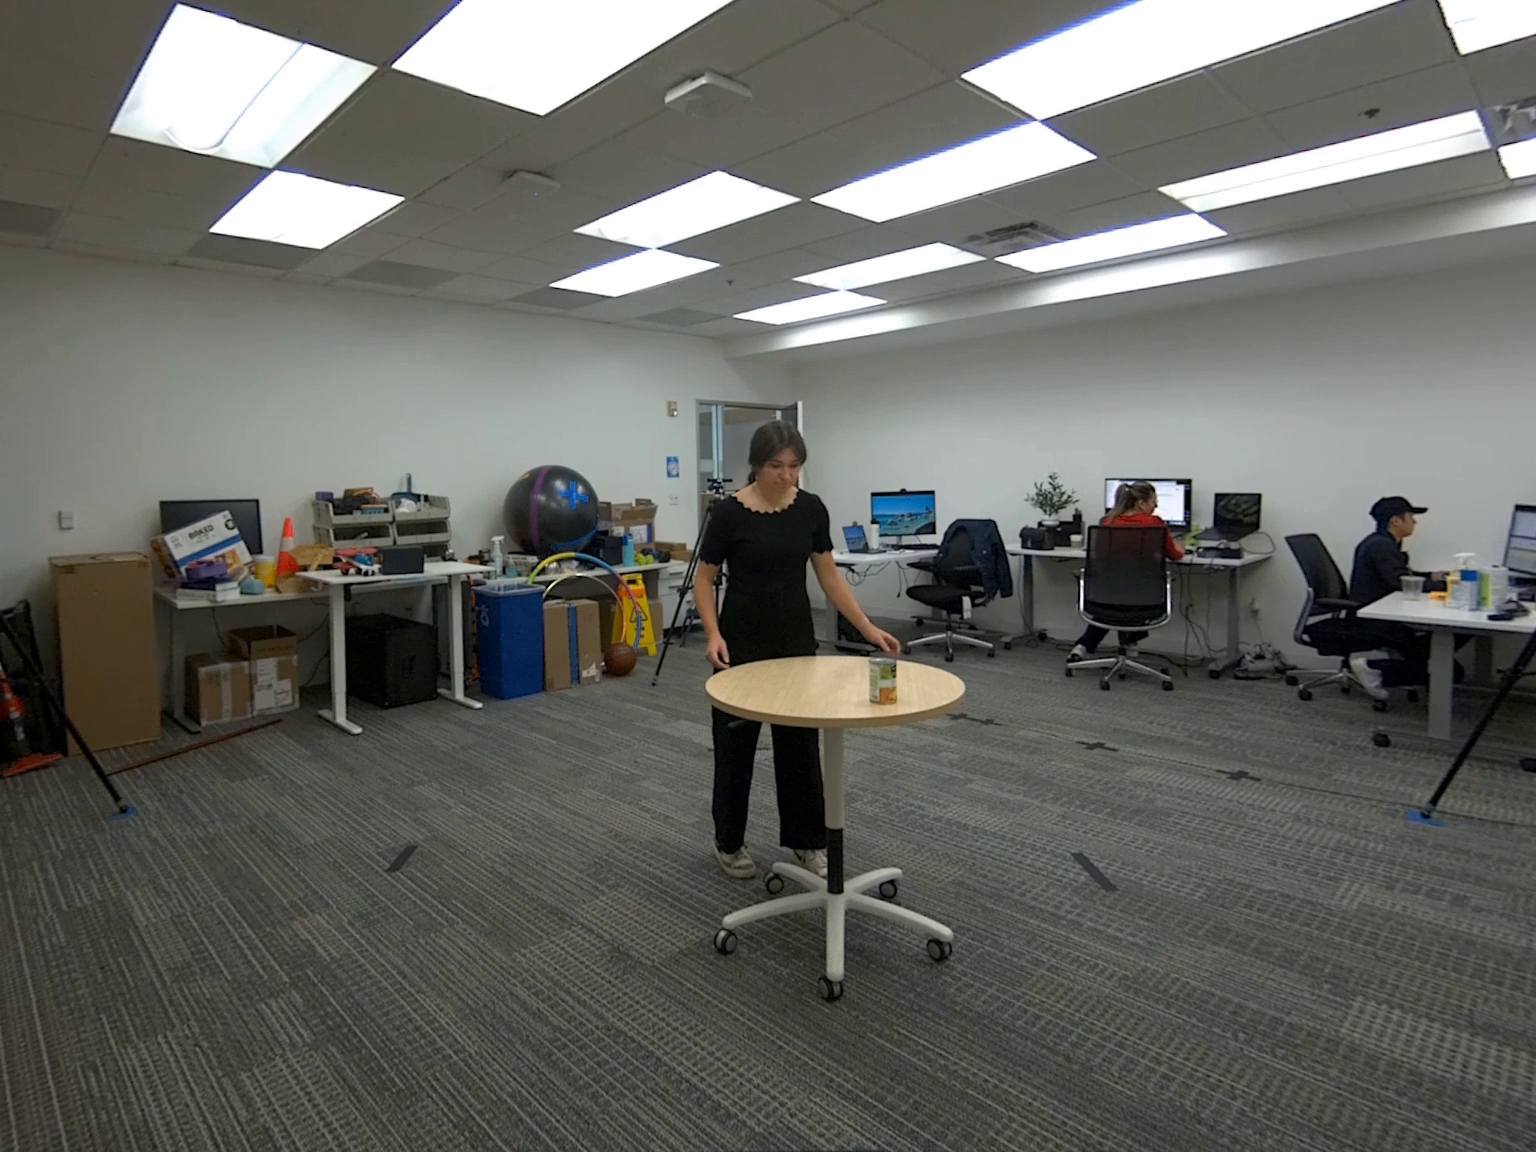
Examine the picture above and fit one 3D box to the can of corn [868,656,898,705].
[{"bbox_3d":[0.320,0.287,2.330,0.074,0.110,0.074,0,5,-2],"label":"can of corn"}]
